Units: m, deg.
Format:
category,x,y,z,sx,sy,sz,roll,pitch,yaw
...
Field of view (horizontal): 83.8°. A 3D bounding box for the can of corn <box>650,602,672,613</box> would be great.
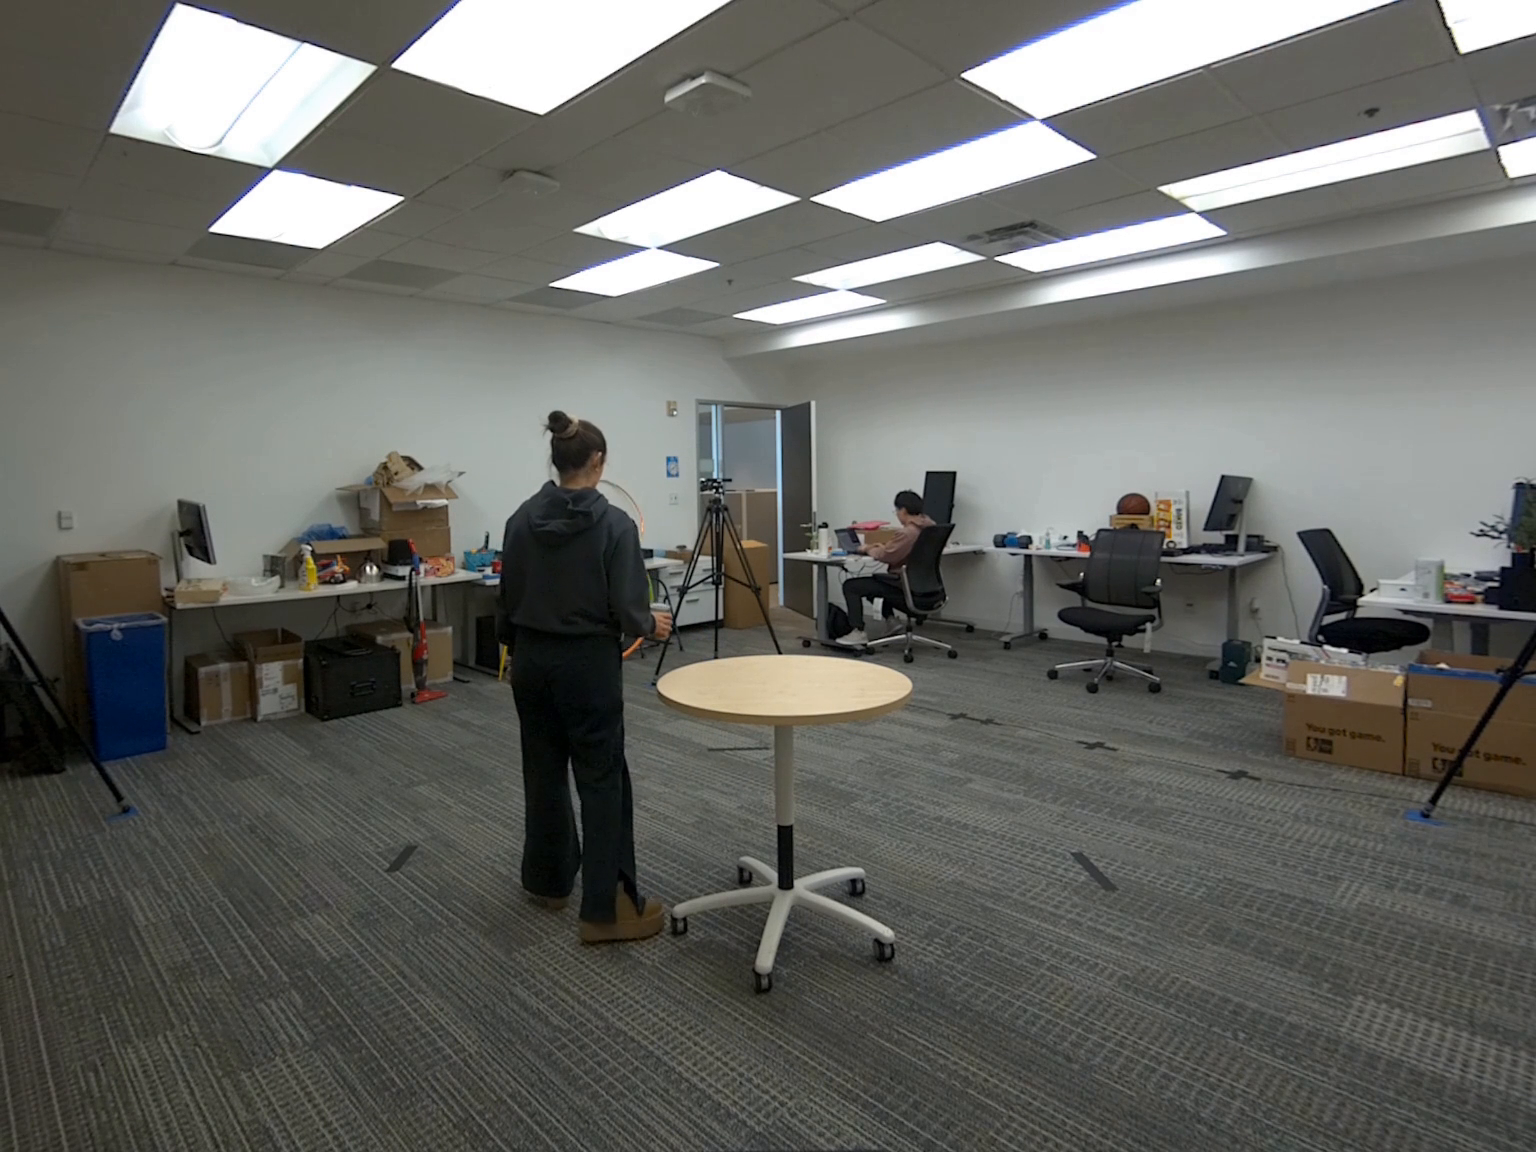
category,x,y,z,sx,sy,sz,roll,pitch,yaw
can of corn,-0.381,0.169,2.894,0.074,0.110,0.075,-2,6,-1
